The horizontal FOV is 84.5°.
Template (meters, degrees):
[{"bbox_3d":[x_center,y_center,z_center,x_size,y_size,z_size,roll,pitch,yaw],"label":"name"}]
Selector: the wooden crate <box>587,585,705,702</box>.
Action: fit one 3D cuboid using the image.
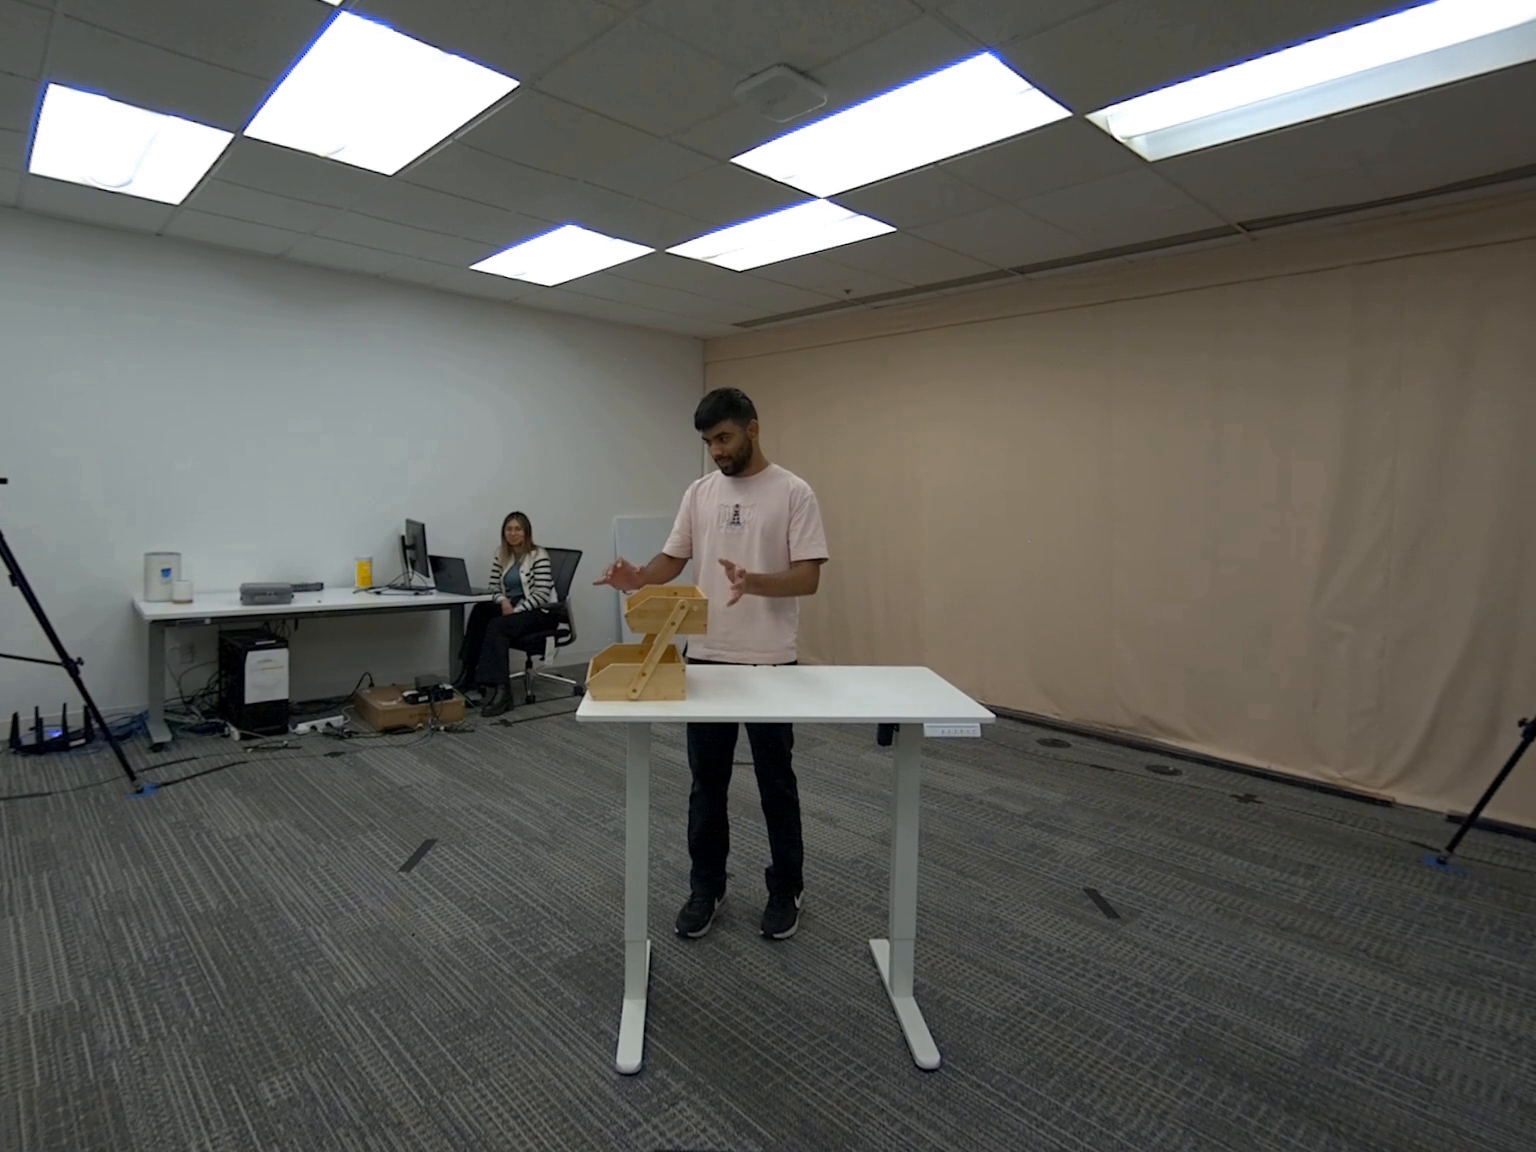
[{"bbox_3d":[-0.348,0.176,2.233,0.301,0.272,0.327,1,5,-6],"label":"wooden crate"}]
